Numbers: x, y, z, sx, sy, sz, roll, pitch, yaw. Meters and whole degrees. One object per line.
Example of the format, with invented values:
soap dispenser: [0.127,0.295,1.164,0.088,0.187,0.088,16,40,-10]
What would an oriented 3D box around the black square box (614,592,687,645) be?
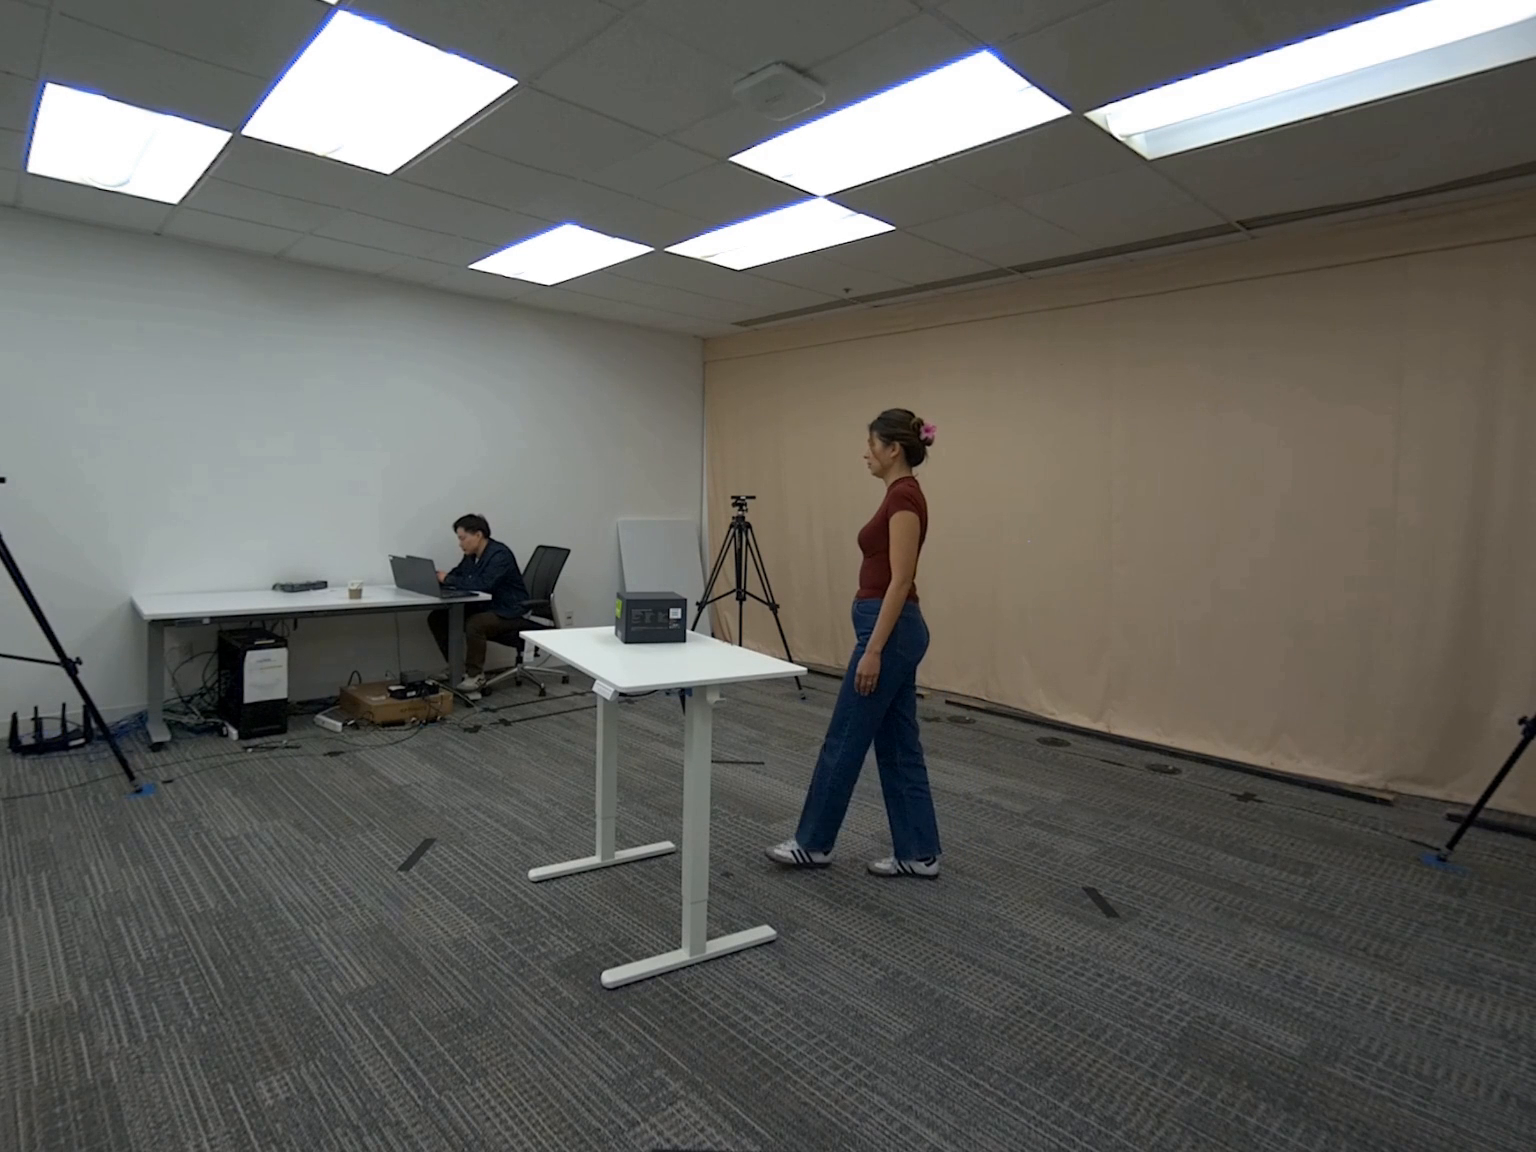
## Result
black square box: [-0.426,0.143,3.009,0.214,0.155,0.231,0,4,-17]
